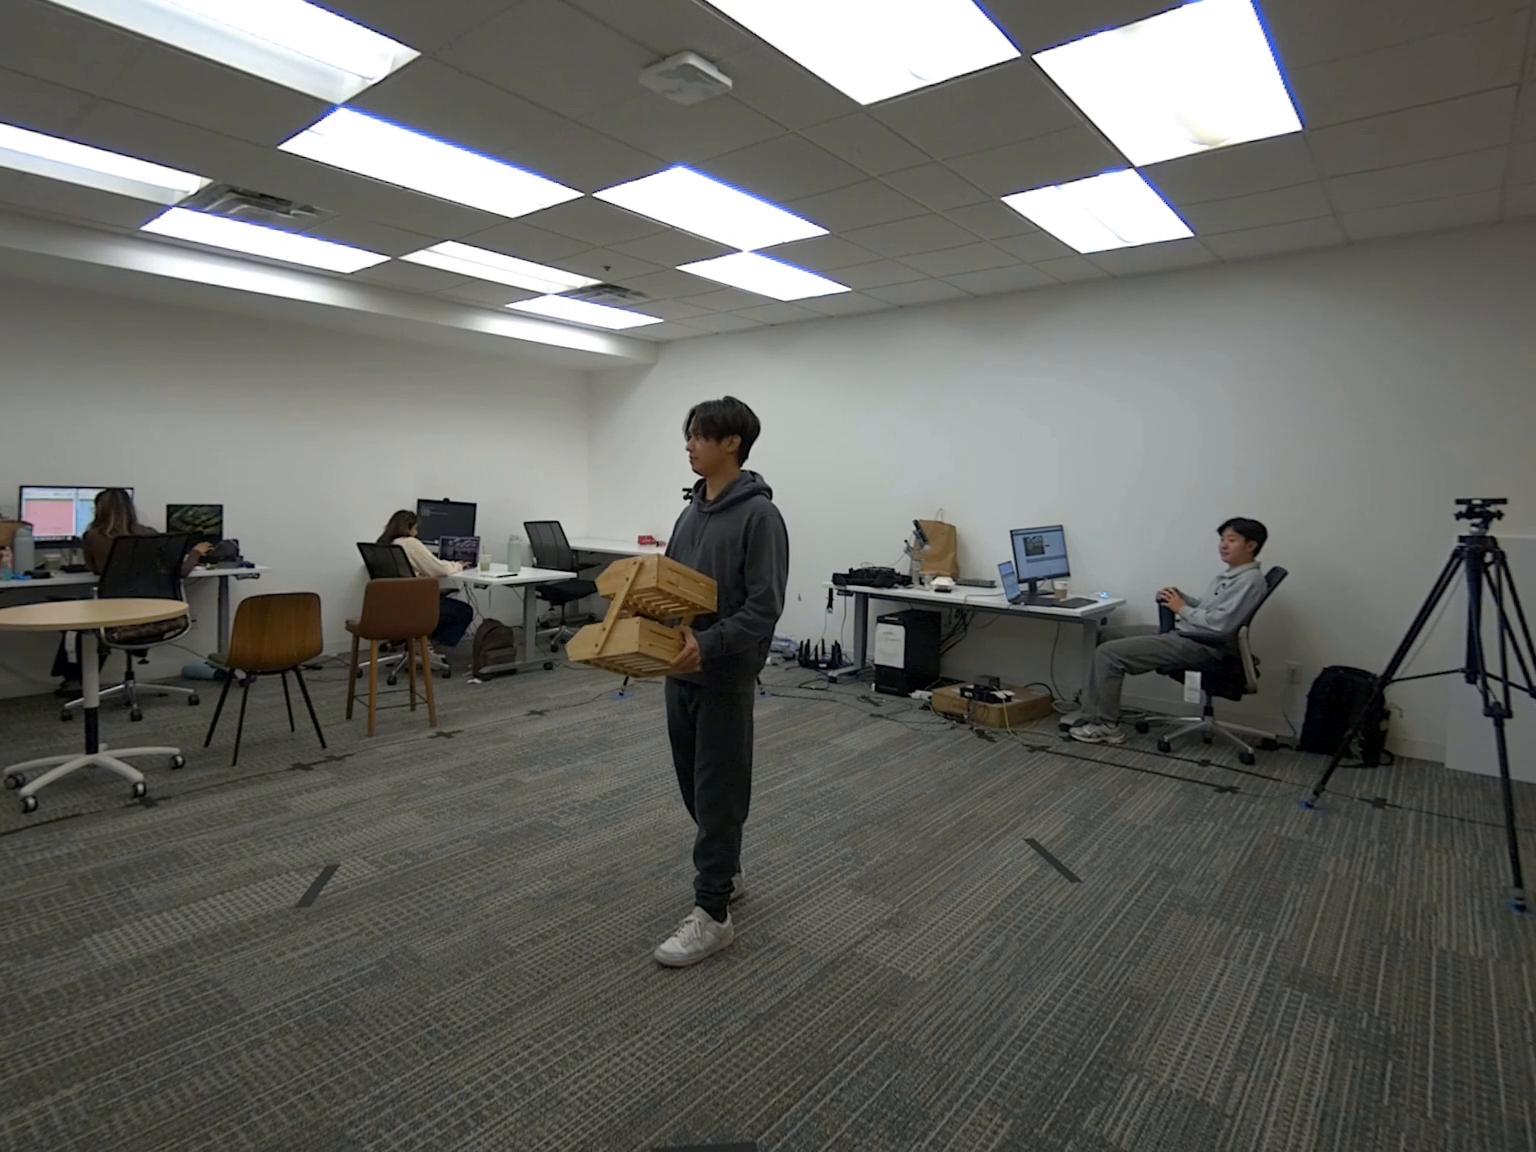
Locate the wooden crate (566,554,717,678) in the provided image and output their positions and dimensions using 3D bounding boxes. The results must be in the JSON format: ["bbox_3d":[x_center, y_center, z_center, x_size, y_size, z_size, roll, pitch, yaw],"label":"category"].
[{"bbox_3d":[-0.363,0.117,2.397,0.308,0.278,0.312,-10,-20,27],"label":"wooden crate"}]
